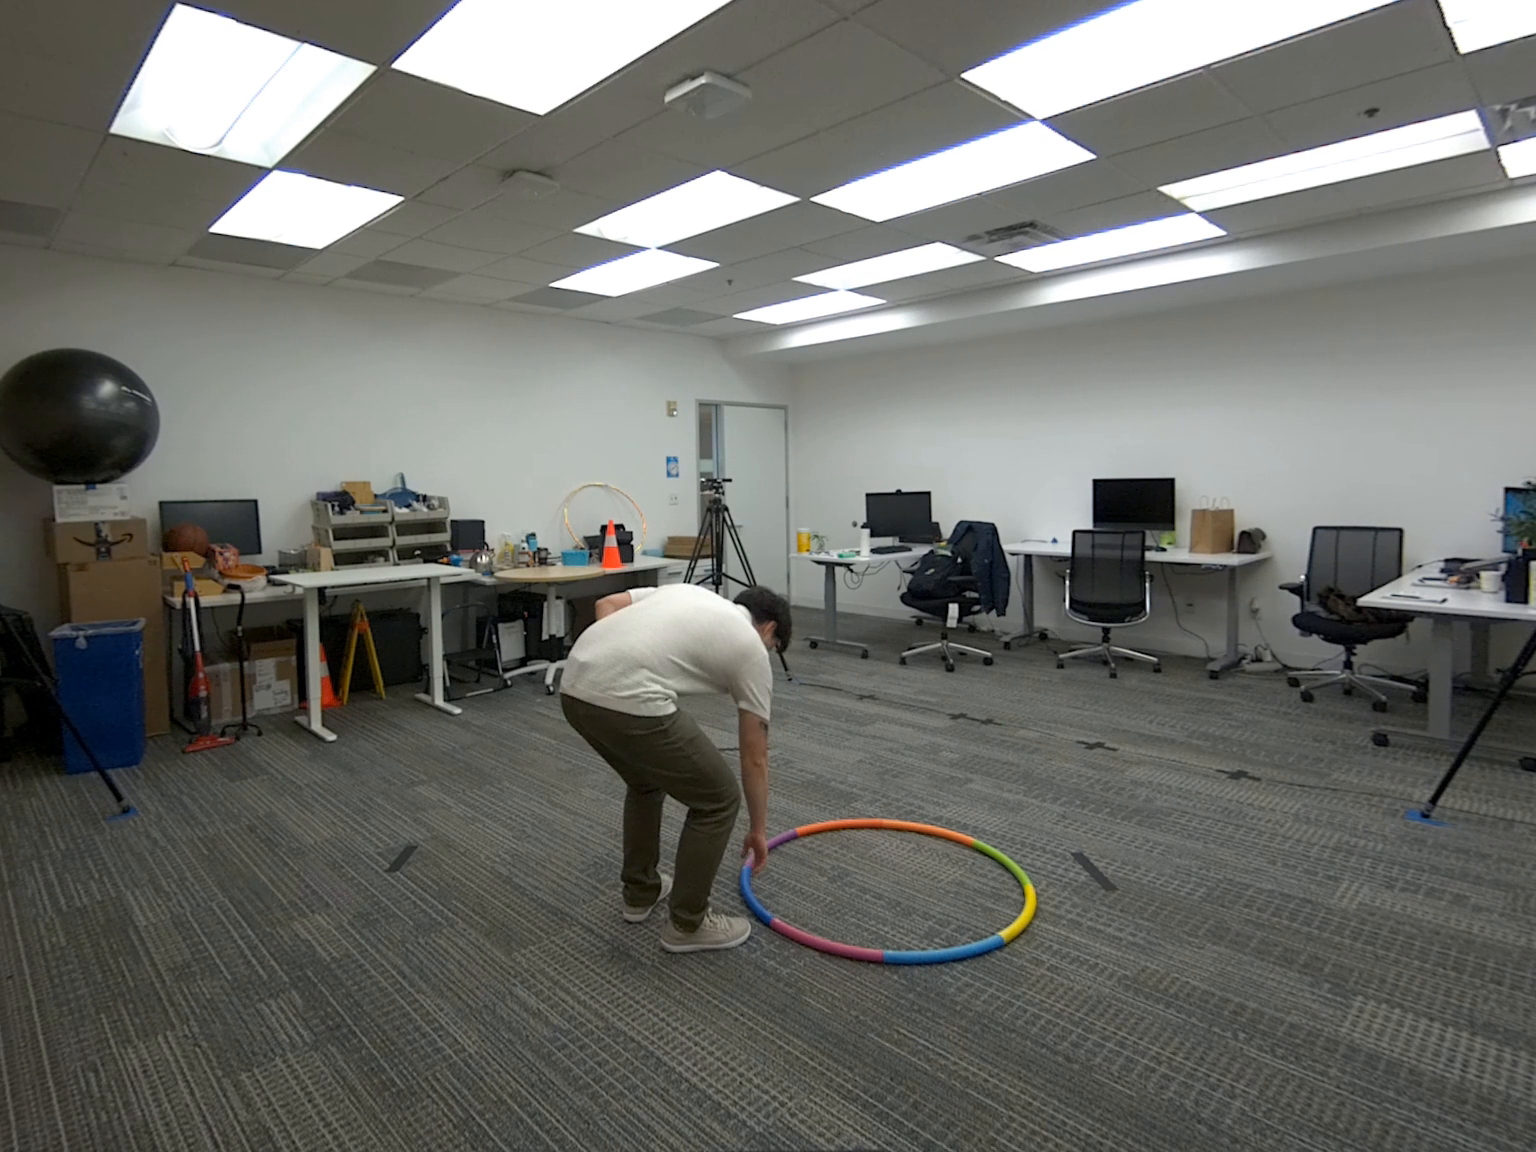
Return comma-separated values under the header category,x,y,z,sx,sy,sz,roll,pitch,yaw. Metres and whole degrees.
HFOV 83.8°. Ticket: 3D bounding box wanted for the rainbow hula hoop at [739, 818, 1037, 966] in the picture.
category,x,y,z,sx,sy,sz,roll,pitch,yaw
rainbow hula hoop,0.392,1.025,2.934,0.978,0.035,0.984,-2,7,-2
